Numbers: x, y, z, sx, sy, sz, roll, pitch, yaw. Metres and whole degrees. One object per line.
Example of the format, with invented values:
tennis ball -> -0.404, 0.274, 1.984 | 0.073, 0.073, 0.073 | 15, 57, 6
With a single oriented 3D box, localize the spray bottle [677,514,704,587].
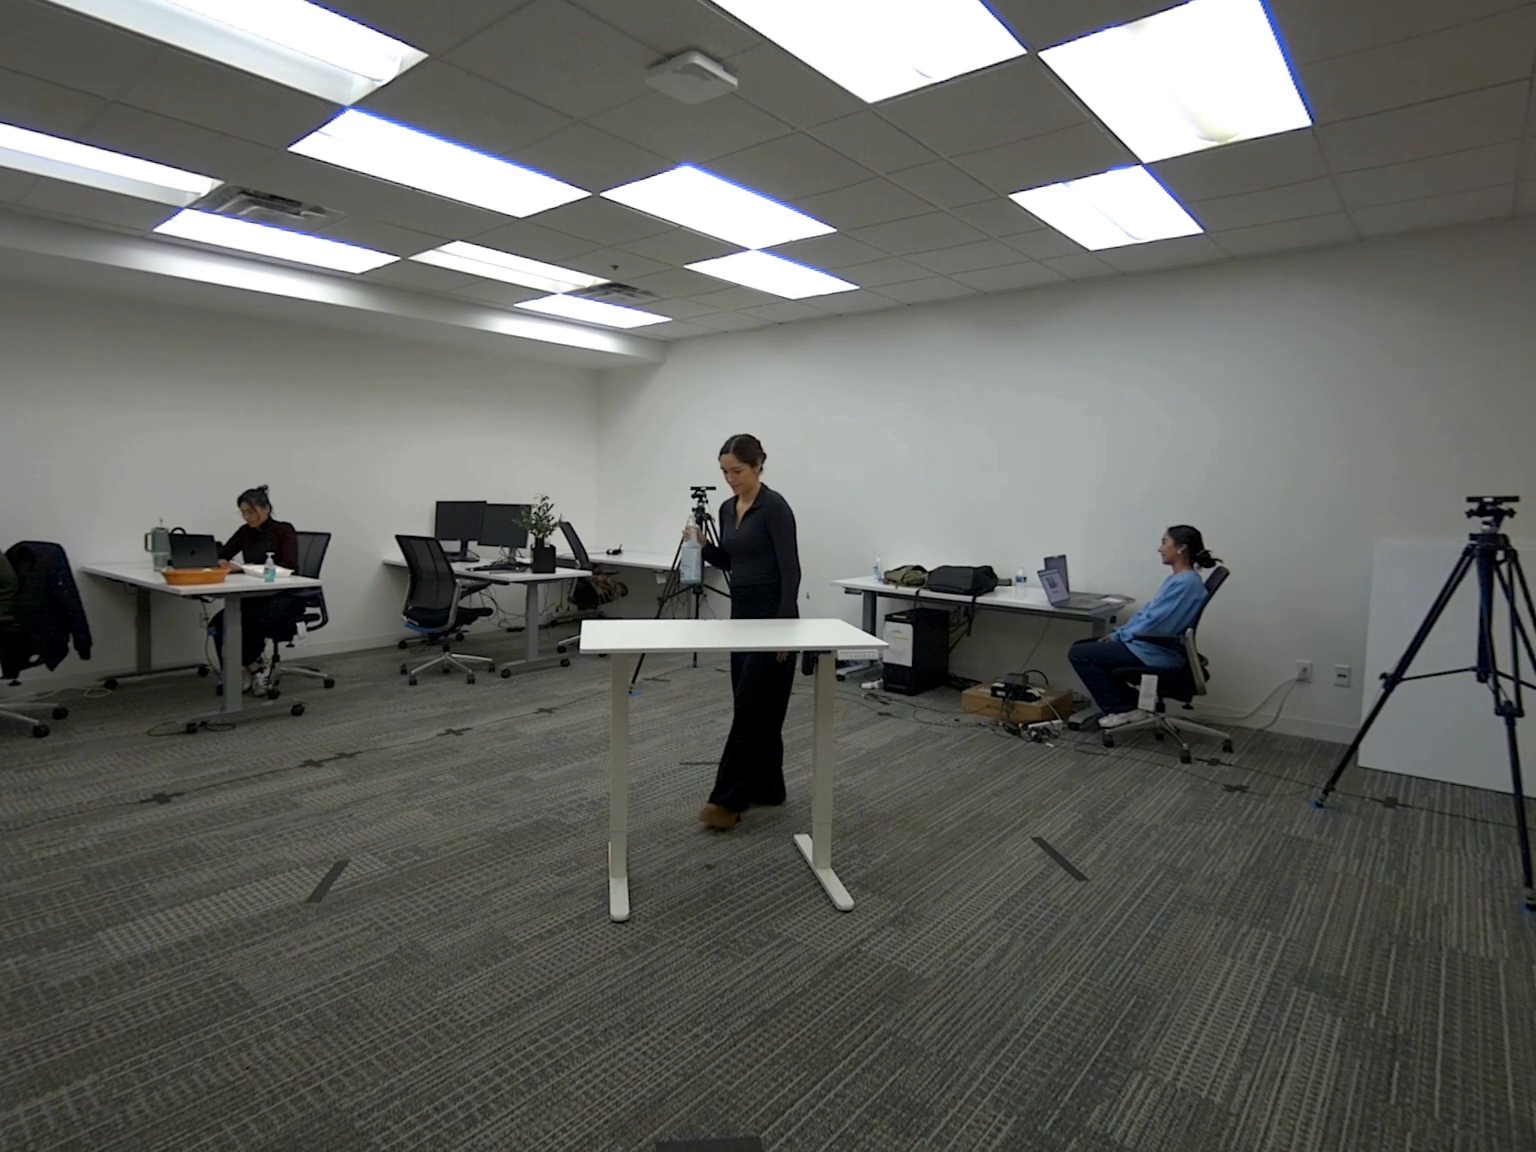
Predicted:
spray bottle -> -0.337, -0.119, 3.608 | 0.089, 0.297, 0.087 | 1, 0, 30
